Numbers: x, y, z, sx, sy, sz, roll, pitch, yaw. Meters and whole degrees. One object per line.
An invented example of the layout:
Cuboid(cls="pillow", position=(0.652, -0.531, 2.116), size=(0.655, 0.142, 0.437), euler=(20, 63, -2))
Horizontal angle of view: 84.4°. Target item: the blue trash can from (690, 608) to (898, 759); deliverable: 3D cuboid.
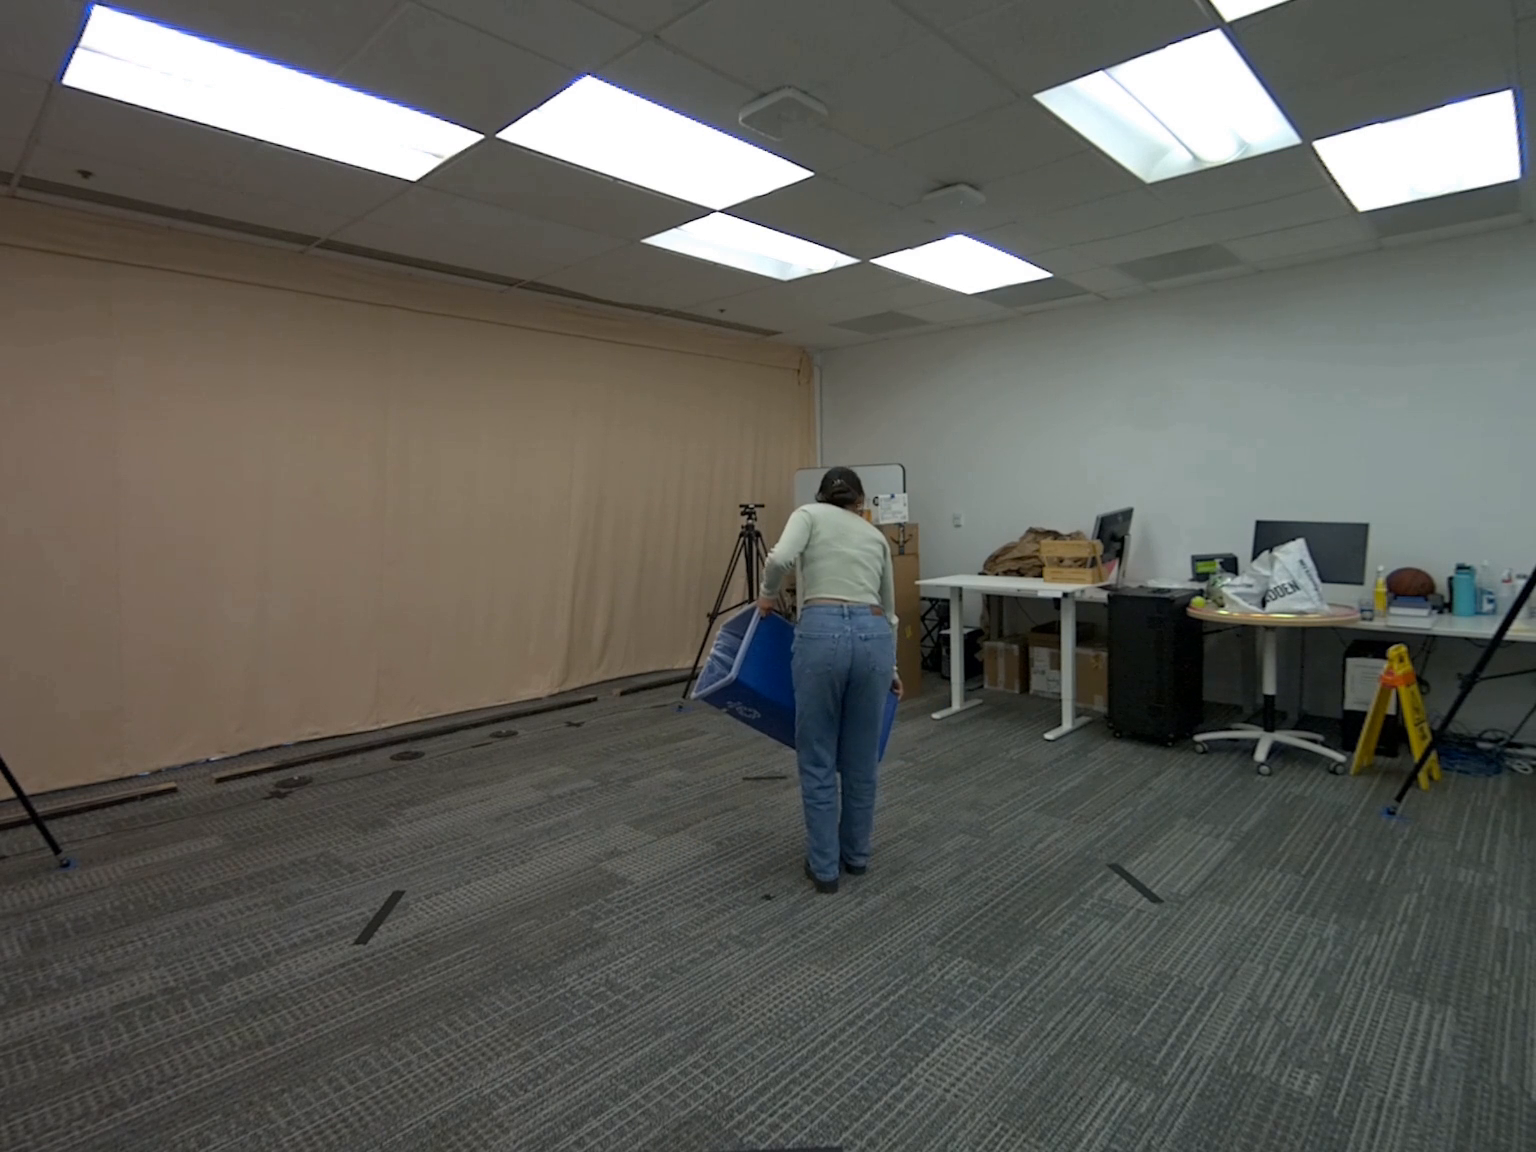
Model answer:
Cuboid(cls="blue trash can", position=(0.119, 0.466, 3.370), size=(0.703, 0.379, 0.378), euler=(32, -33, -13))
